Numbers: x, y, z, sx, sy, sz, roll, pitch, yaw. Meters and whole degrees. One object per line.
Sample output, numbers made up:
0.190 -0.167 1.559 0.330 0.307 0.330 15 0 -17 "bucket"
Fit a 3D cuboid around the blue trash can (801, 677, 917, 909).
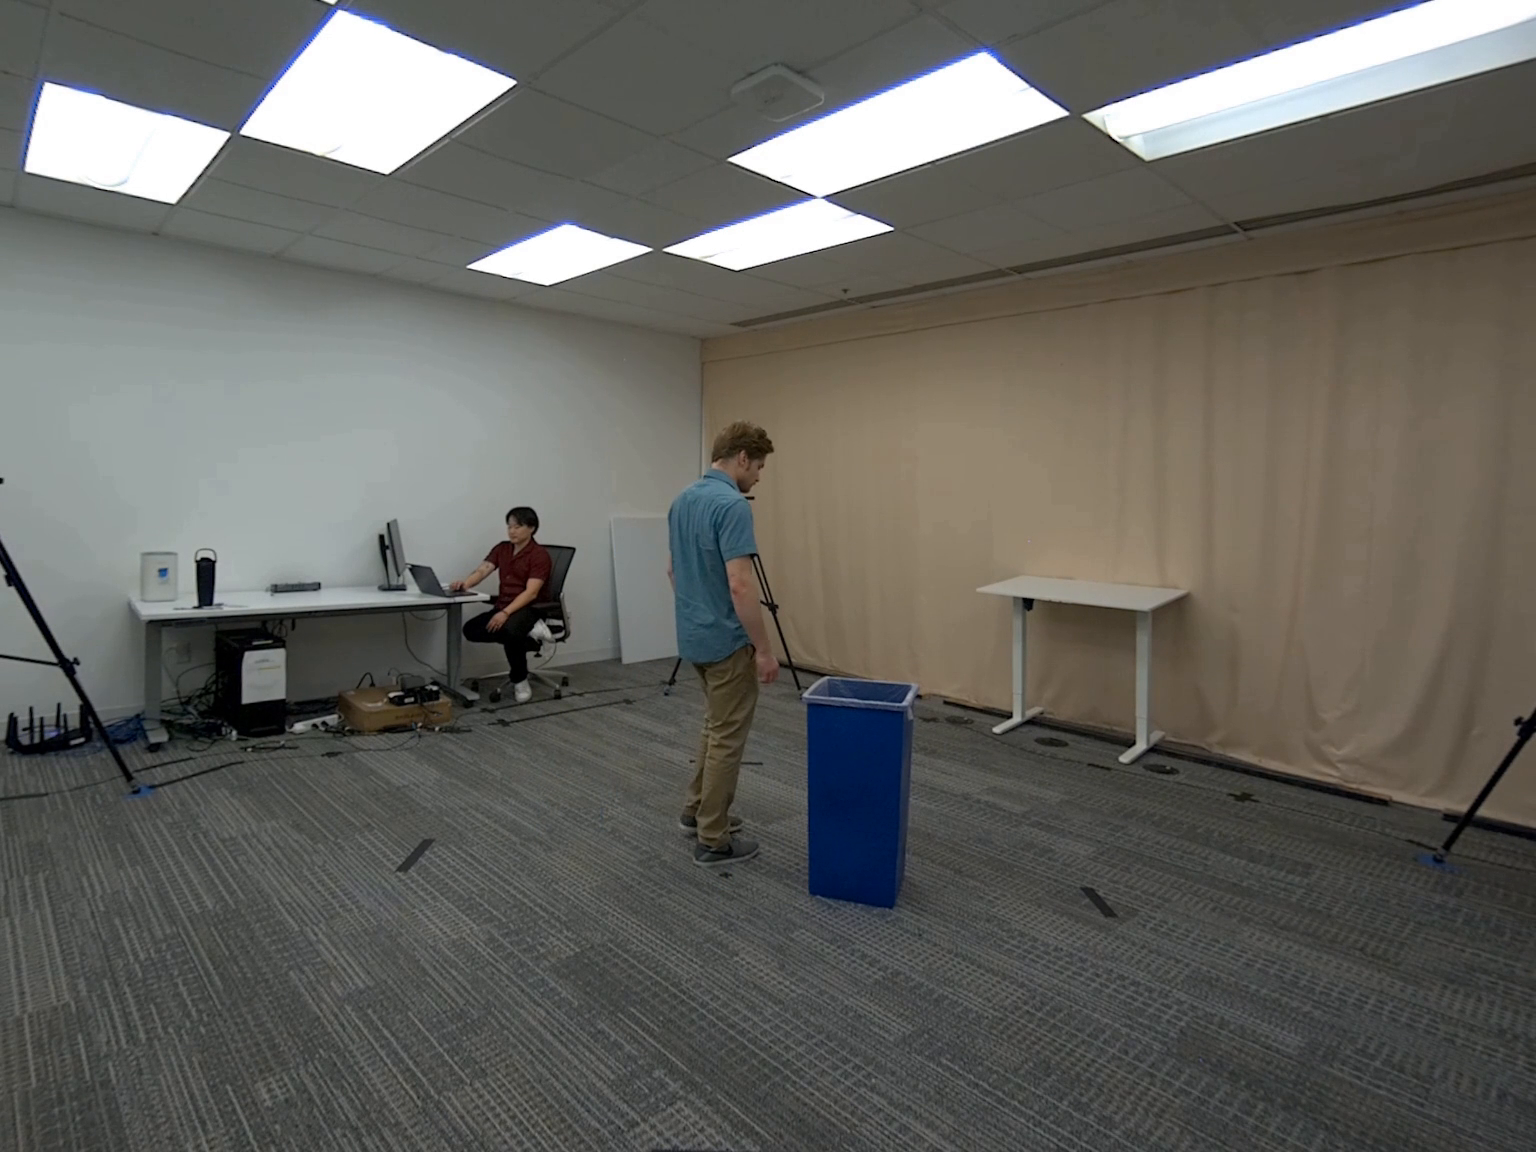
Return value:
0.323 0.766 3.036 0.379 0.712 0.373 3 3 17 "blue trash can"
